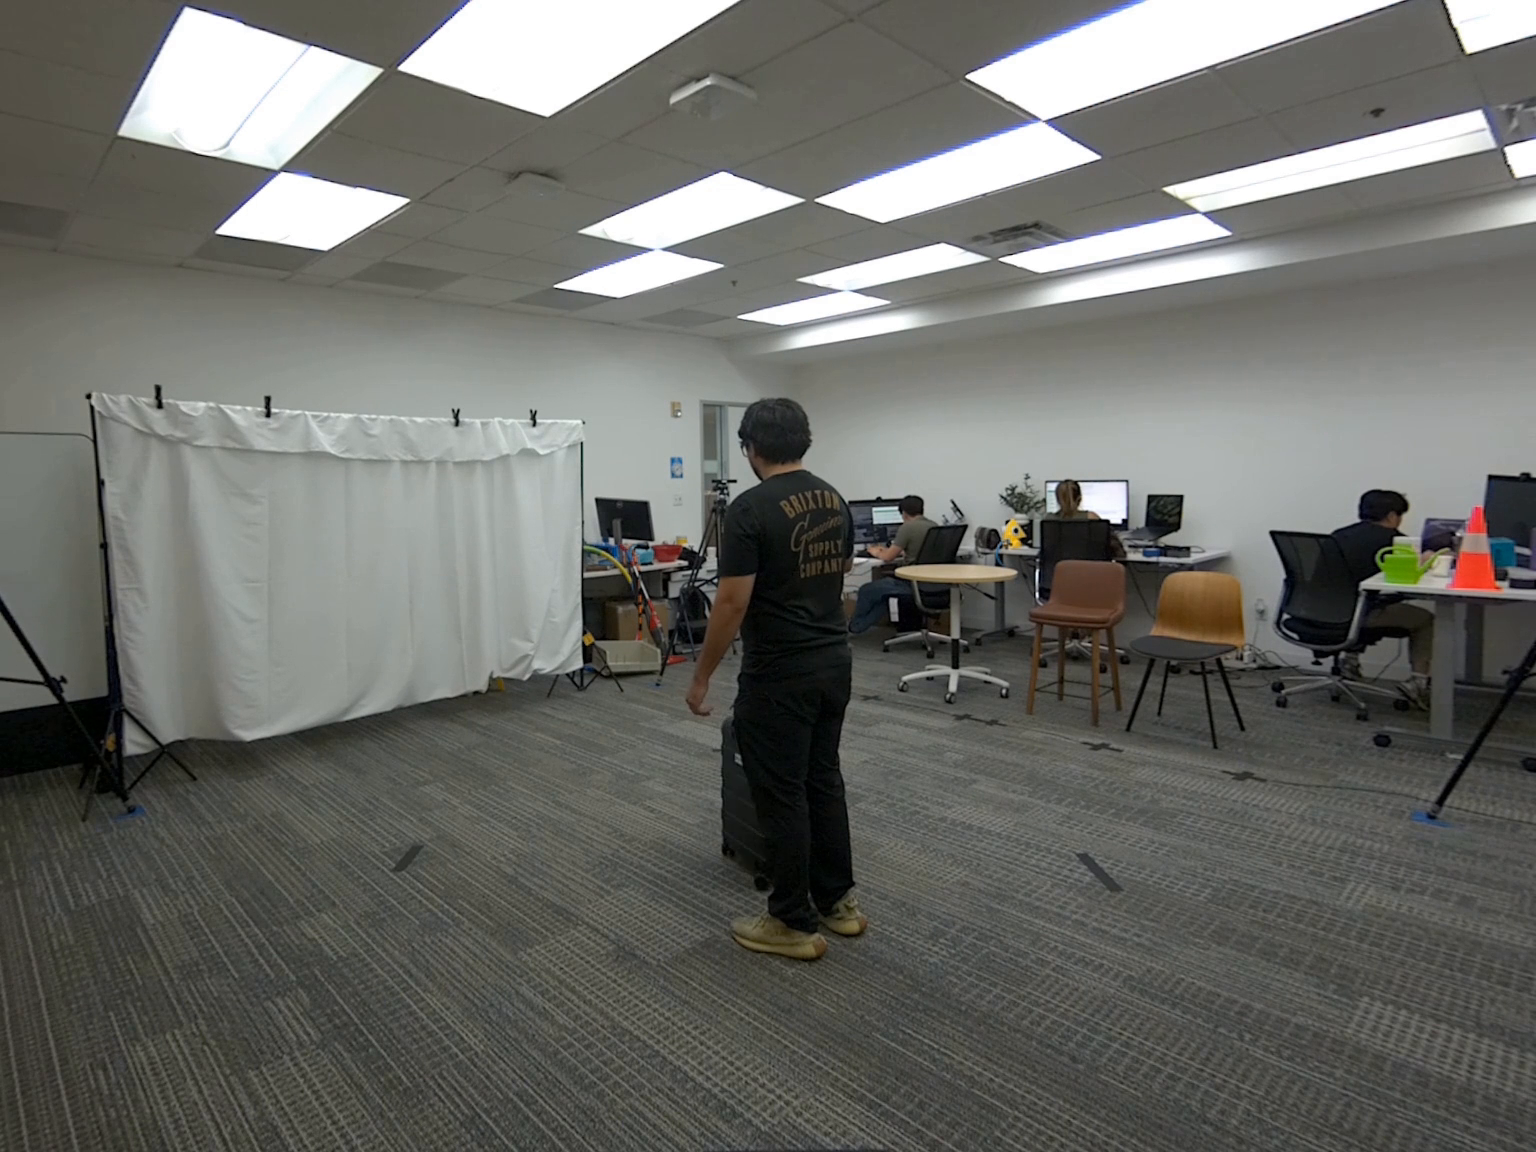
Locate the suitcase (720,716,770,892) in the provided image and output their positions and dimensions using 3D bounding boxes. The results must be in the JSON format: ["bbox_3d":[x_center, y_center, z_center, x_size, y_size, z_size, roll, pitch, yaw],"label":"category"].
[{"bbox_3d":[0.004,0.577,3.069,0.252,0.975,0.393,-4,4,-25],"label":"suitcase"}]
